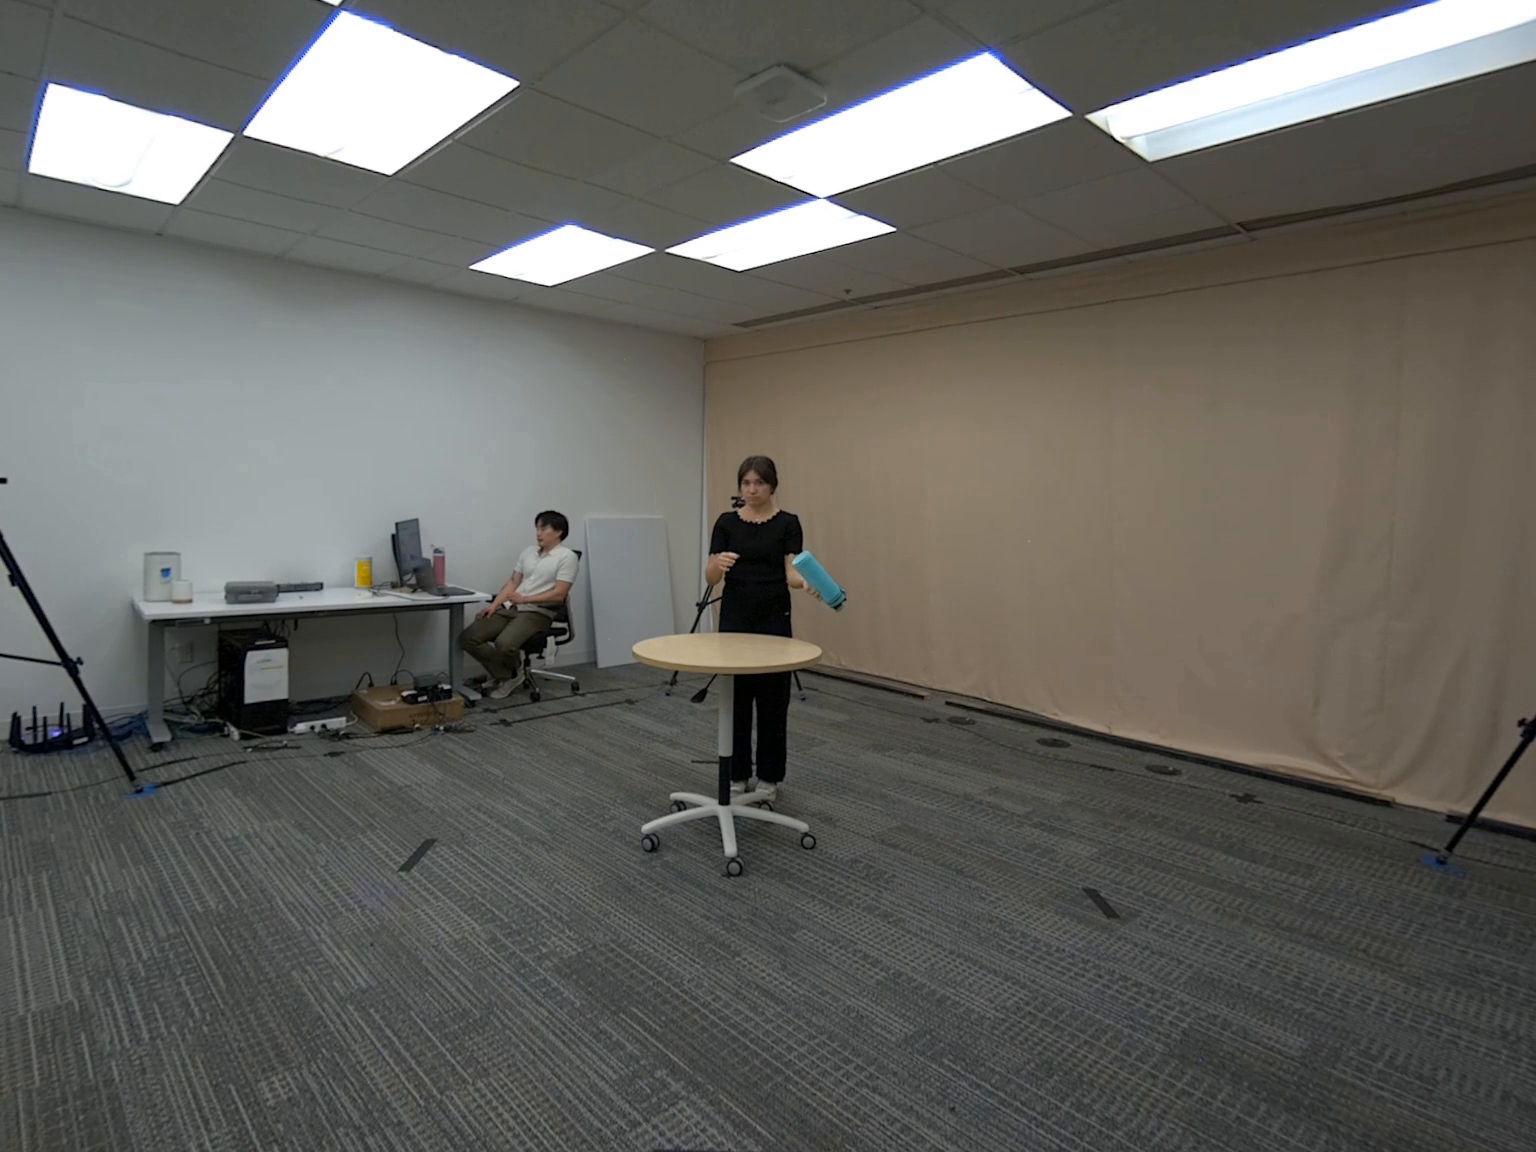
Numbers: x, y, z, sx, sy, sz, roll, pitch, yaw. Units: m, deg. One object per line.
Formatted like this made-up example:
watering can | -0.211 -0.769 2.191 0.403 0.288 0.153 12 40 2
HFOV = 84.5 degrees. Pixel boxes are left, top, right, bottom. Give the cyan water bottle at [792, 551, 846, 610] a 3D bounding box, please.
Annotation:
cyan water bottle | 0.217 0.024 3.525 0.092 0.281 0.093 -42 9 8
